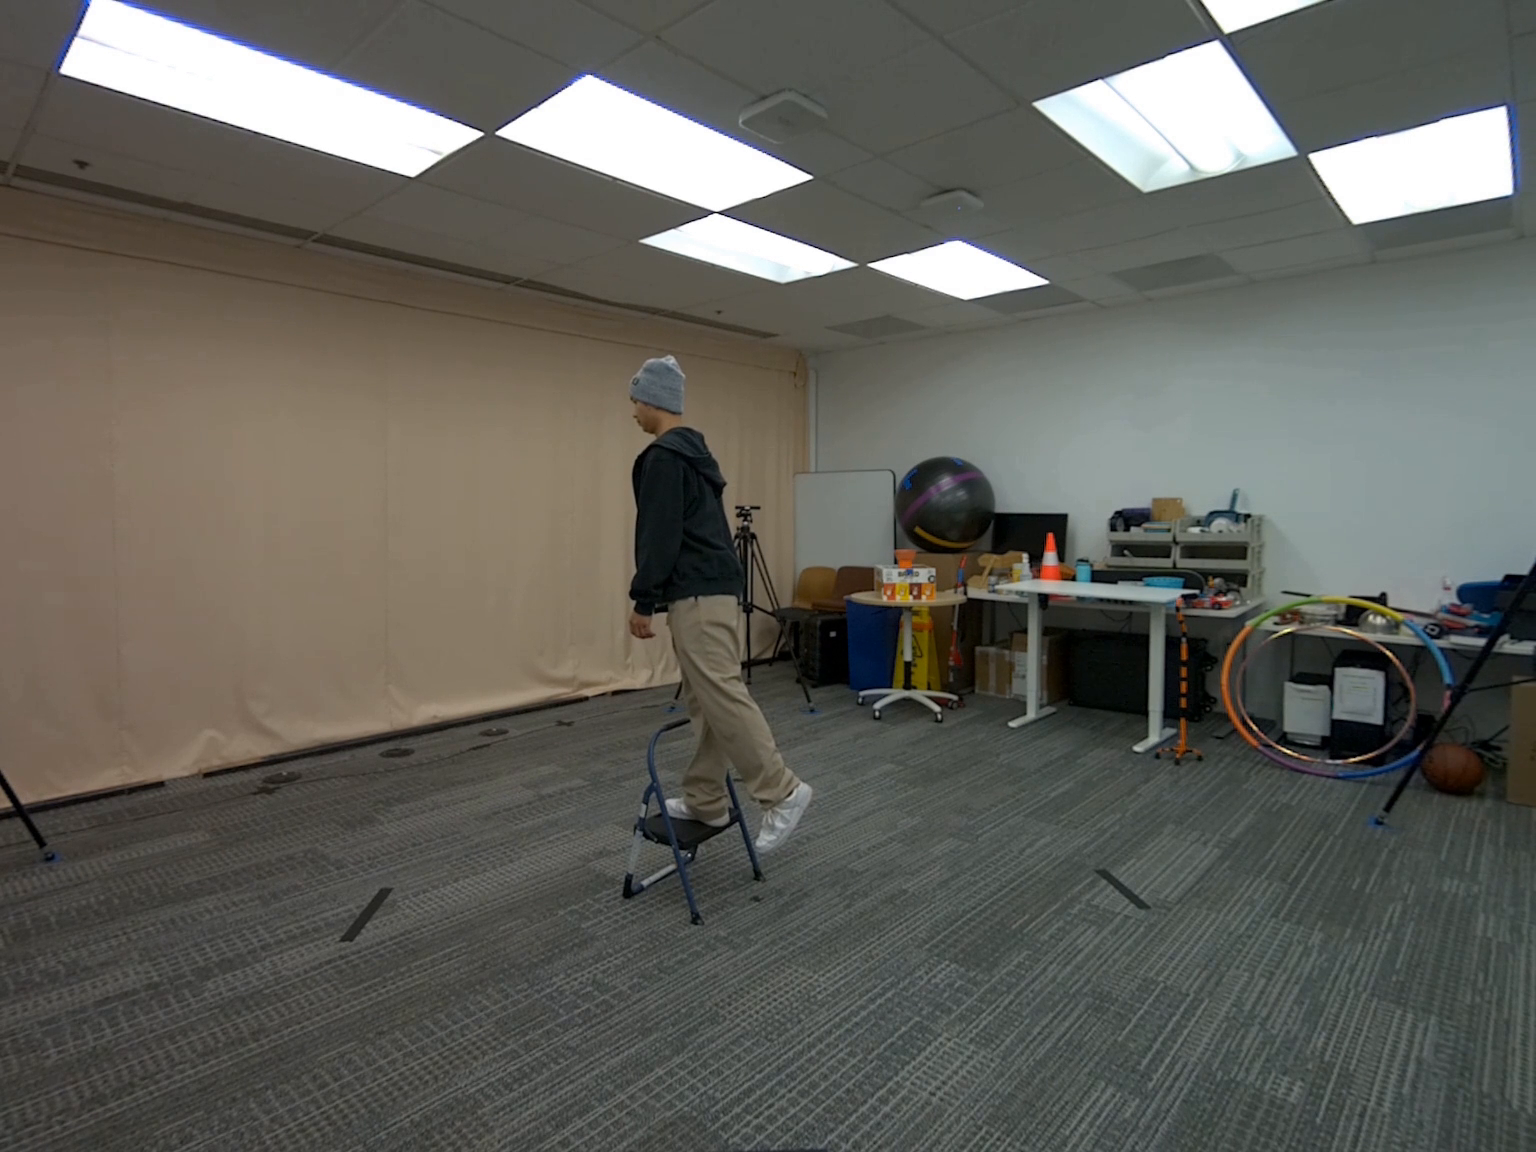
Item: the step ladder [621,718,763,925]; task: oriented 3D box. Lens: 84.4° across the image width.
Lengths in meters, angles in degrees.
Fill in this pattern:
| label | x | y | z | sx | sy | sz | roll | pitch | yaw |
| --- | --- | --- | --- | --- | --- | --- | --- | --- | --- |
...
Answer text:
| label | x | y | z | sx | sy | sz | roll | pitch | yaw |
| --- | --- | --- | --- | --- | --- | --- | --- | --- | --- |
| step ladder | -0.269 | 0.839 | 3.053 | 0.360 | 0.605 | 0.419 | 1 | 4 | 32 |
